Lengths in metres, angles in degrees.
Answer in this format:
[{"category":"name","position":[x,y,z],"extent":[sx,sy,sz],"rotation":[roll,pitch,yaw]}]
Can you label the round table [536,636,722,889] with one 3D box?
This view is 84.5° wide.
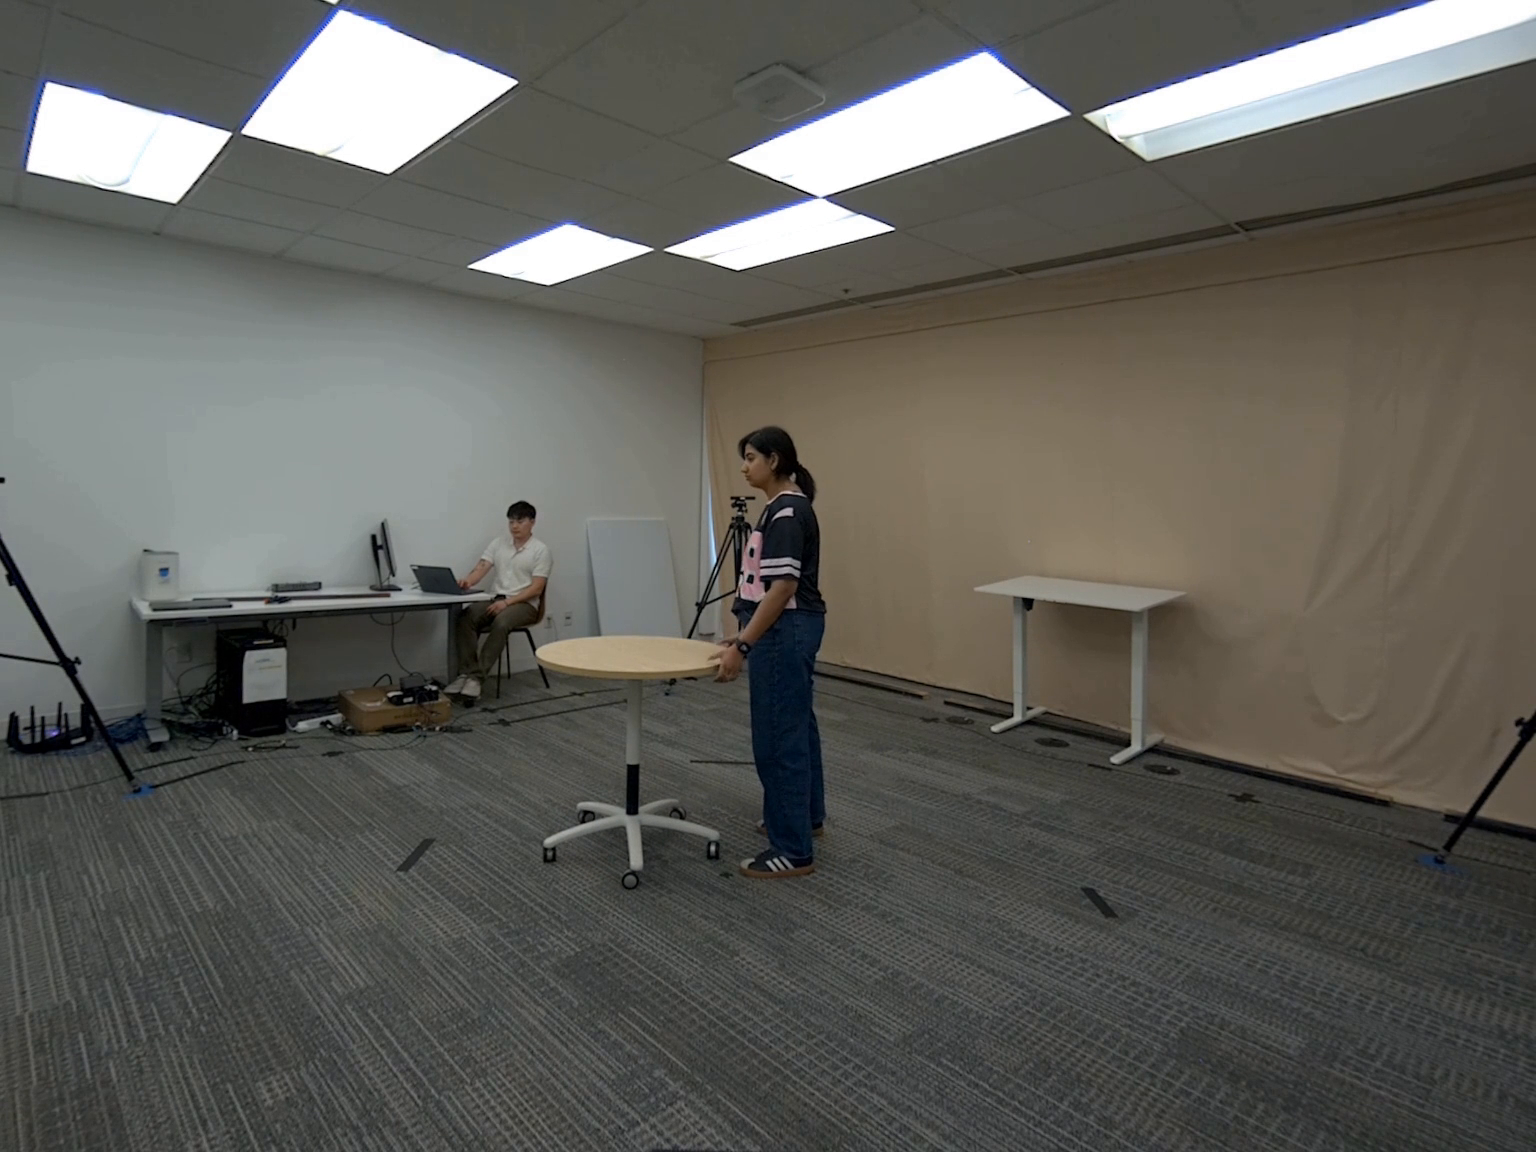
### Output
[{"category":"round table","position":[-0.538,0.686,3.305],"extent":[0.763,0.792,0.766],"rotation":[2,4,-1]}]
